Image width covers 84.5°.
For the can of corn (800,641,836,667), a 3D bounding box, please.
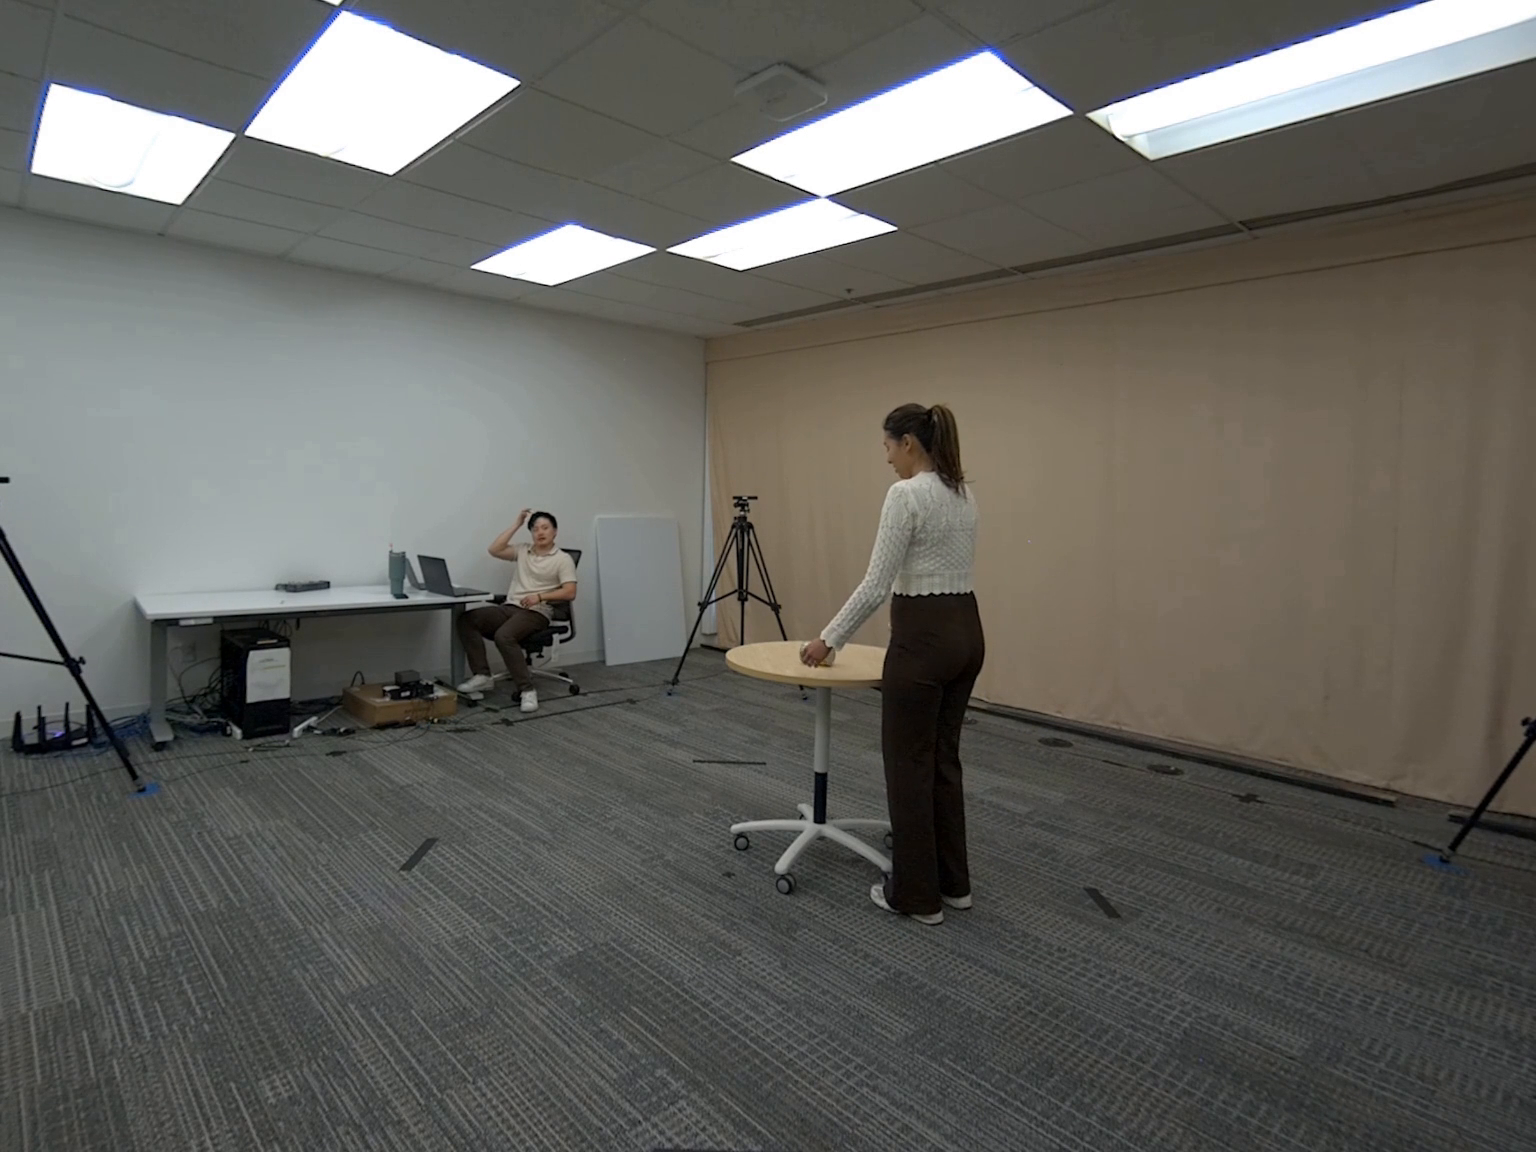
[{"bbox_3d":[0.179,0.288,3.113,0.113,0.074,0.073,5,5,32],"label":"can of corn"}]
